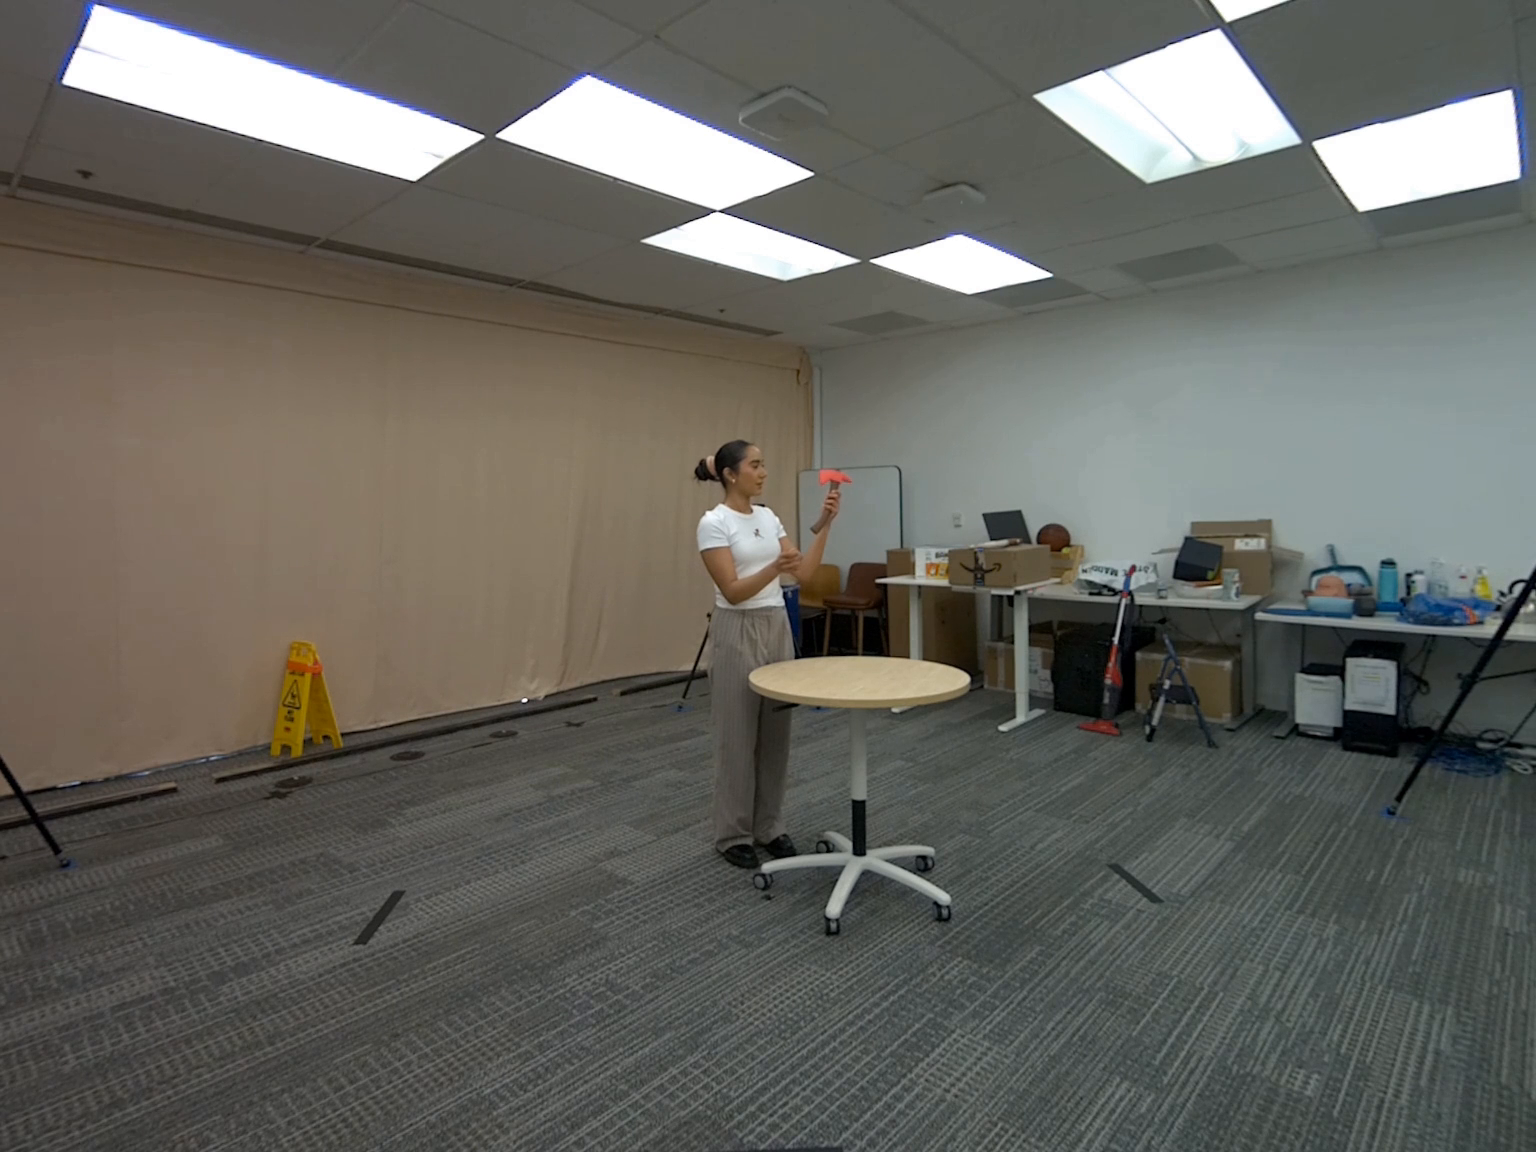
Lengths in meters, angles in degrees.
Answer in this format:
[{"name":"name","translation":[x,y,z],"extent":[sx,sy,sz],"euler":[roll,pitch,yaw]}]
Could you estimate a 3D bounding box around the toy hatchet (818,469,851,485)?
[{"name":"toy hatchet","translation":[0.216,-0.299,3.229],"extent":[0.129,0.270,0.030],"euler":[36,-15,-10]}]
